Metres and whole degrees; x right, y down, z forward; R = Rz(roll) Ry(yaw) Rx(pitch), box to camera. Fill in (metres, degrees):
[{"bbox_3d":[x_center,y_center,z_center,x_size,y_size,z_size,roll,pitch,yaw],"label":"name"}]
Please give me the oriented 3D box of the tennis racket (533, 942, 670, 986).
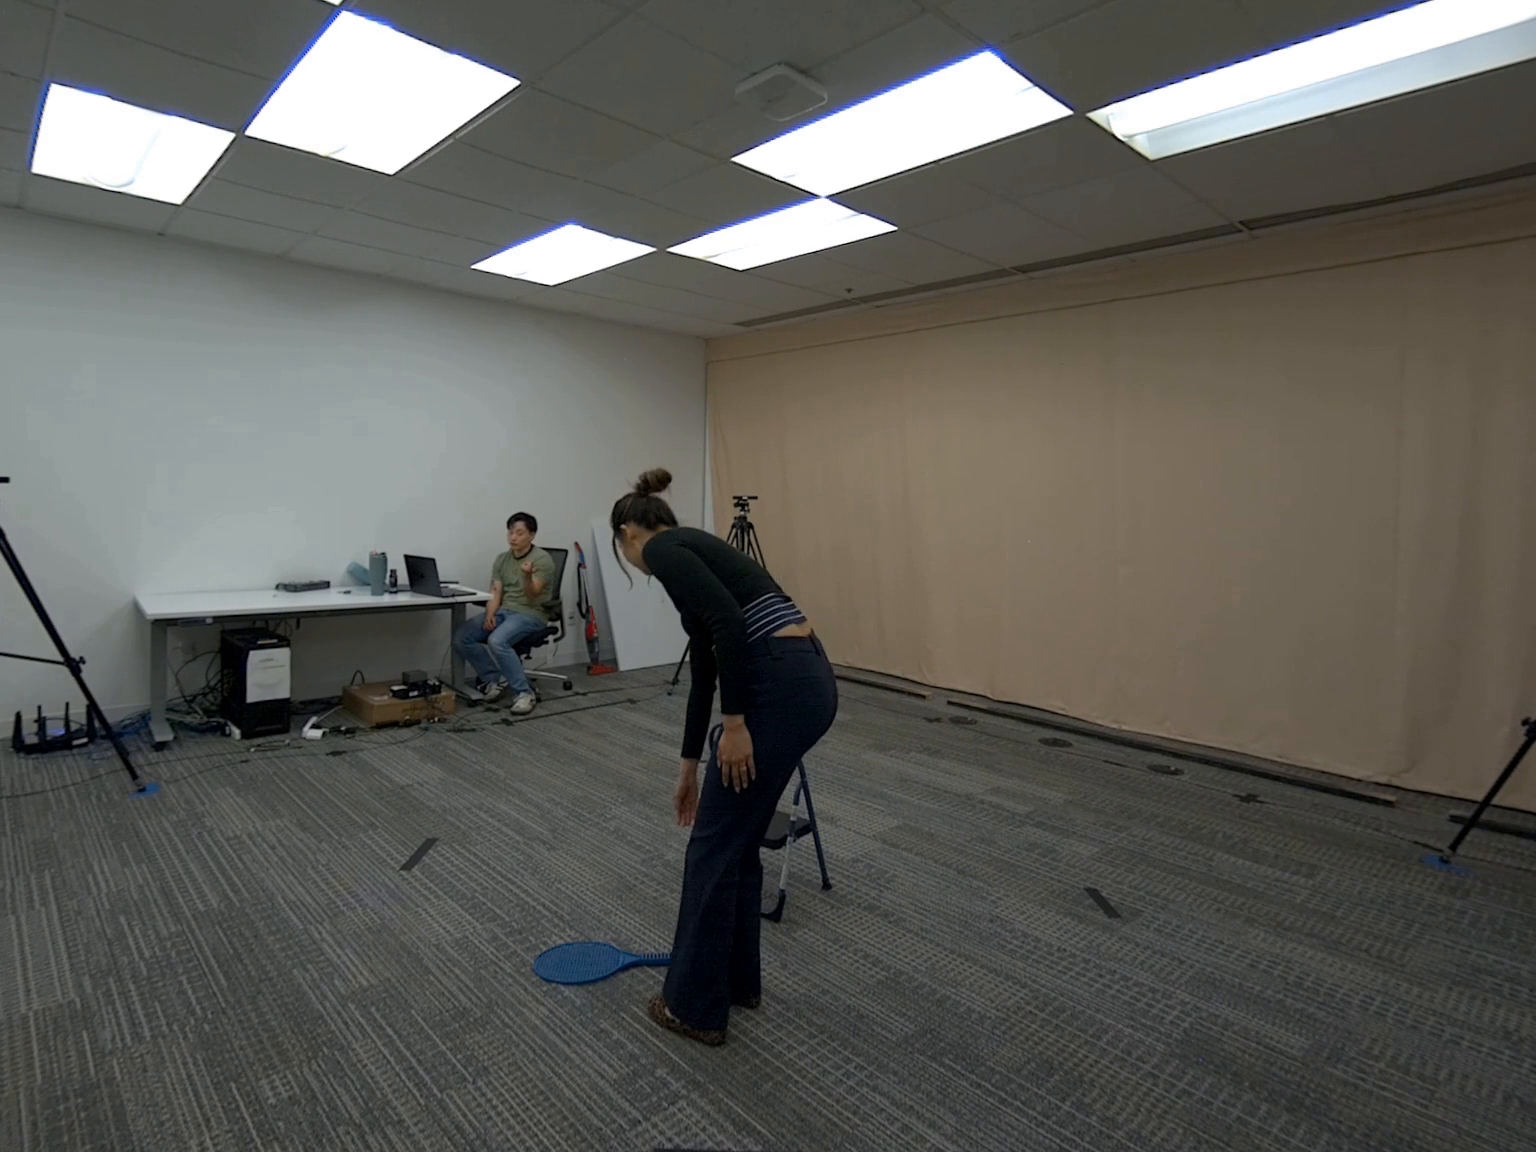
[{"bbox_3d":[-0.480,1.136,2.491,0.431,0.031,0.215,-1,5,-5],"label":"tennis racket"}]
